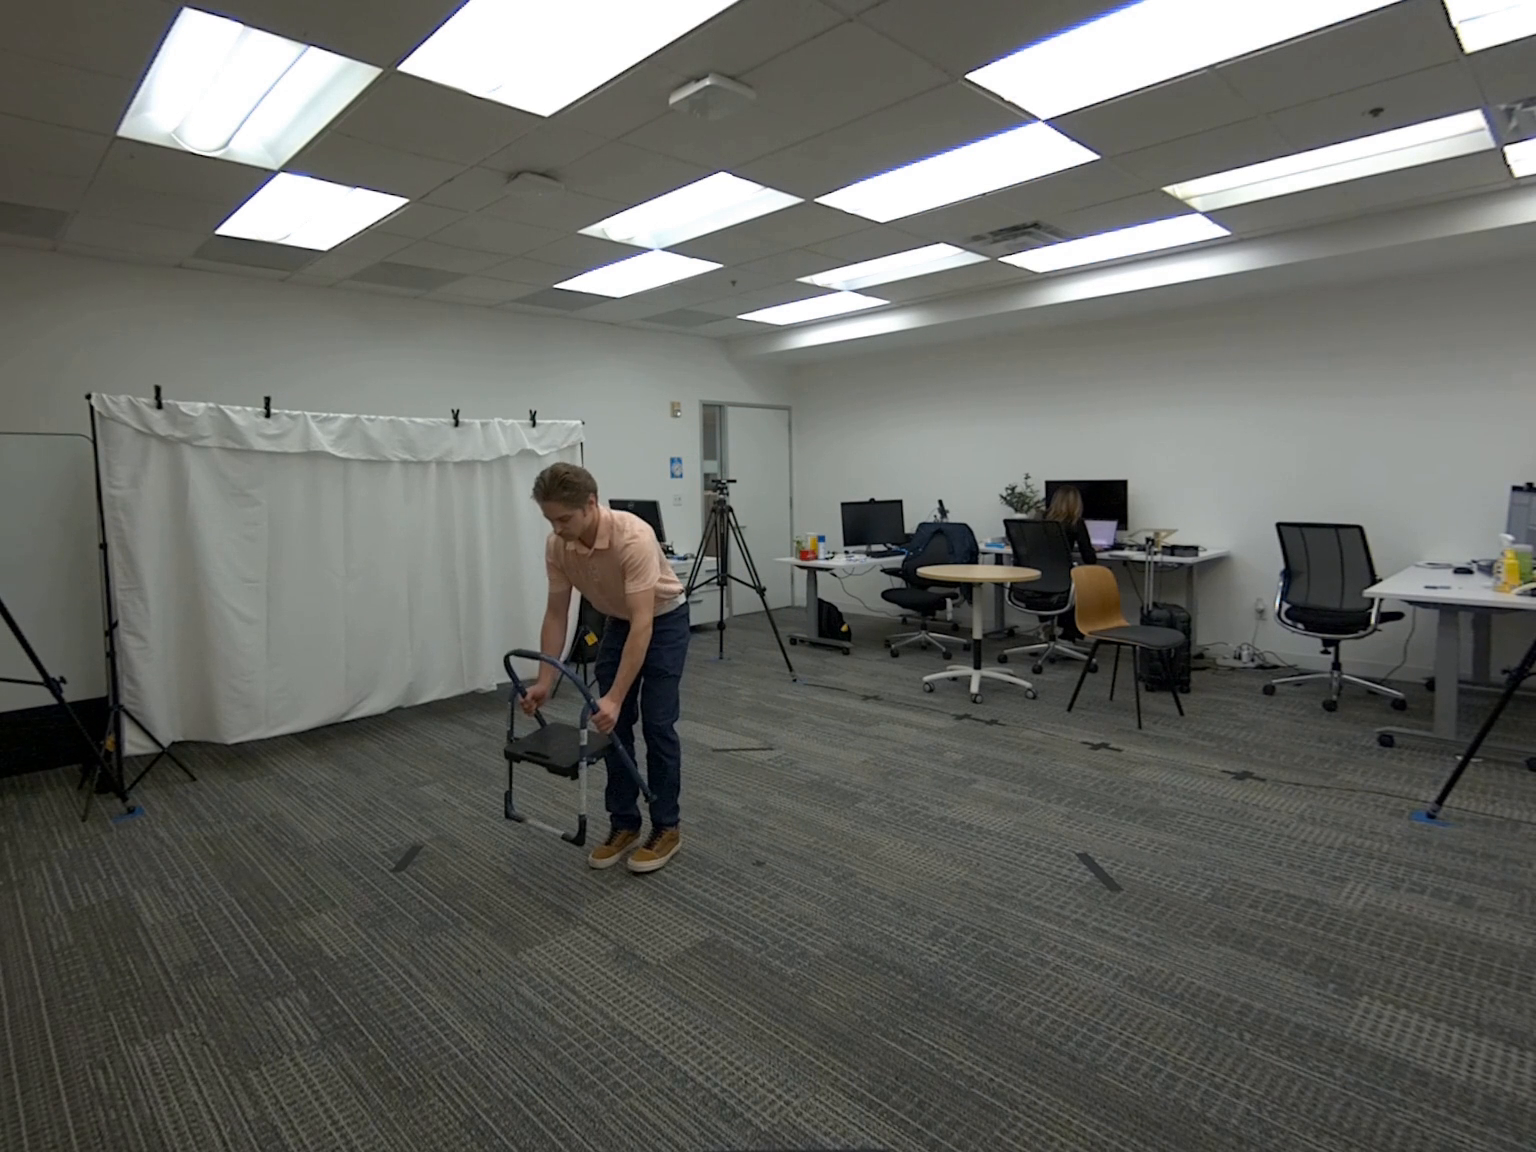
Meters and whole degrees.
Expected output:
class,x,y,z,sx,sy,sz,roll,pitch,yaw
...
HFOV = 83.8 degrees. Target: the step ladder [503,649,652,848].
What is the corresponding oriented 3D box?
class,x,y,z,sx,sy,sz,roll,pitch,yaw
step ladder,-0.699,0.528,2.910,0.443,0.599,0.343,2,15,39
